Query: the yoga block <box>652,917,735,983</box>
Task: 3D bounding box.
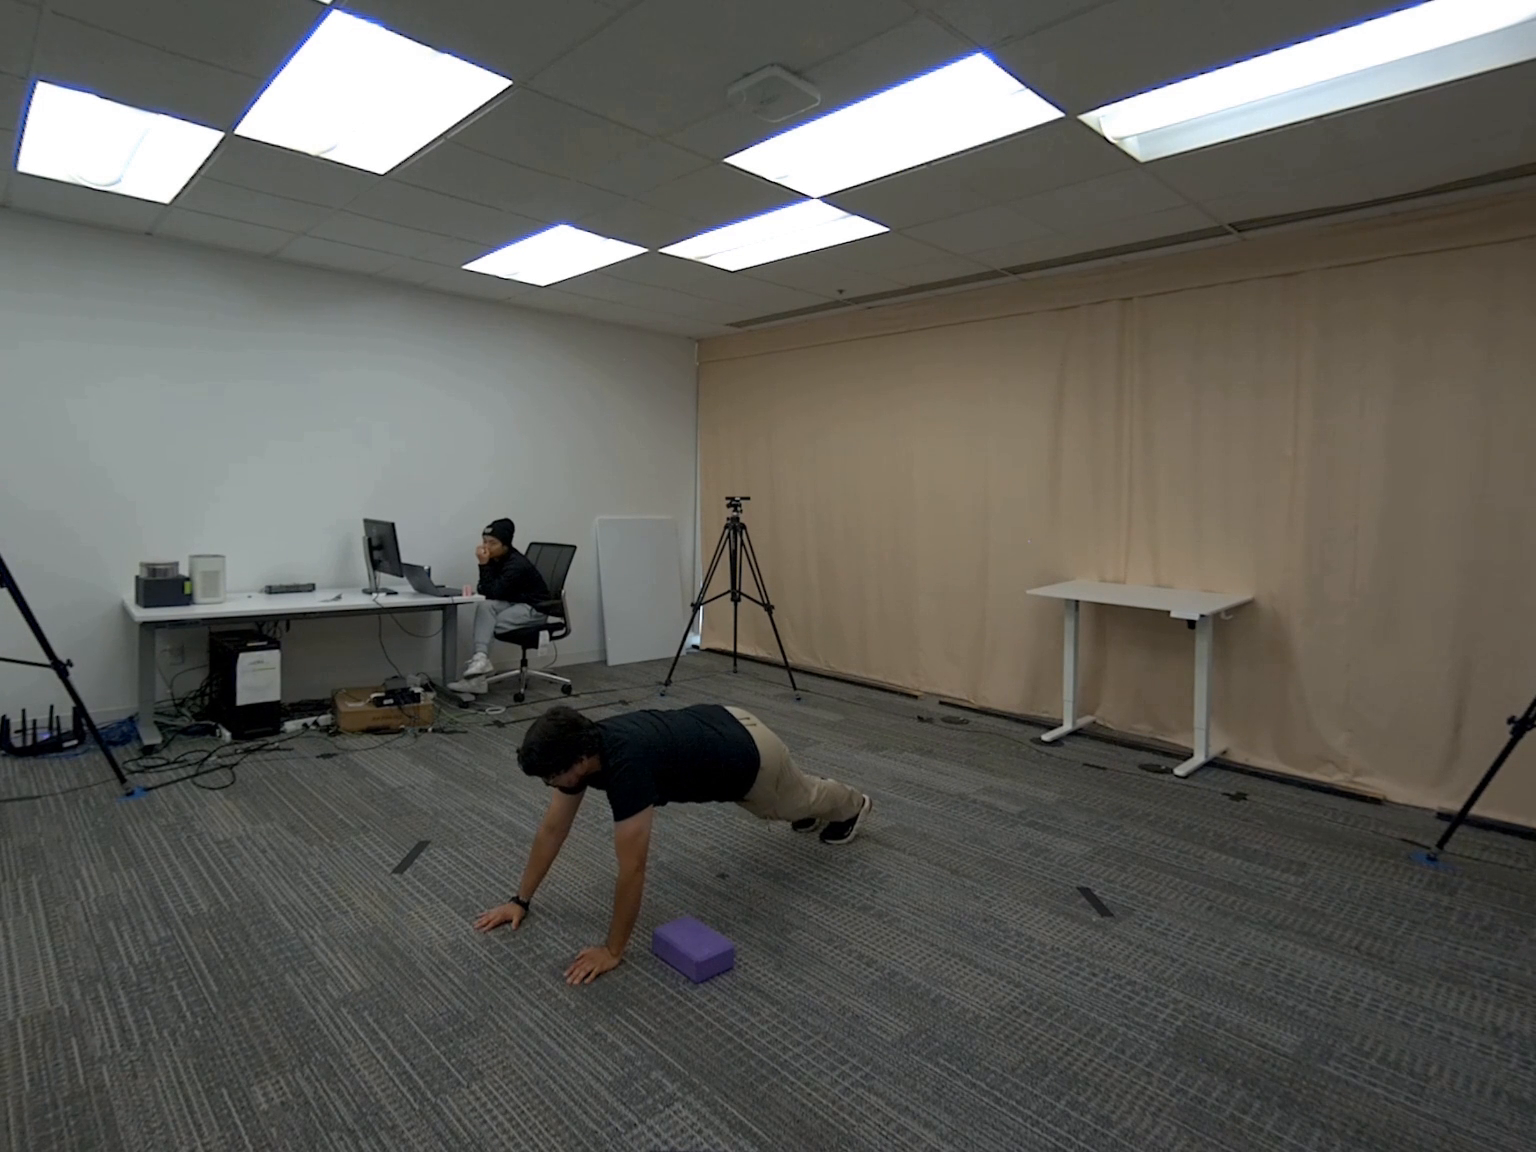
[{"bbox_3d":[-0.233,1.113,2.525,0.146,0.076,0.235,-4,7,-42],"label":"yoga block"}]
